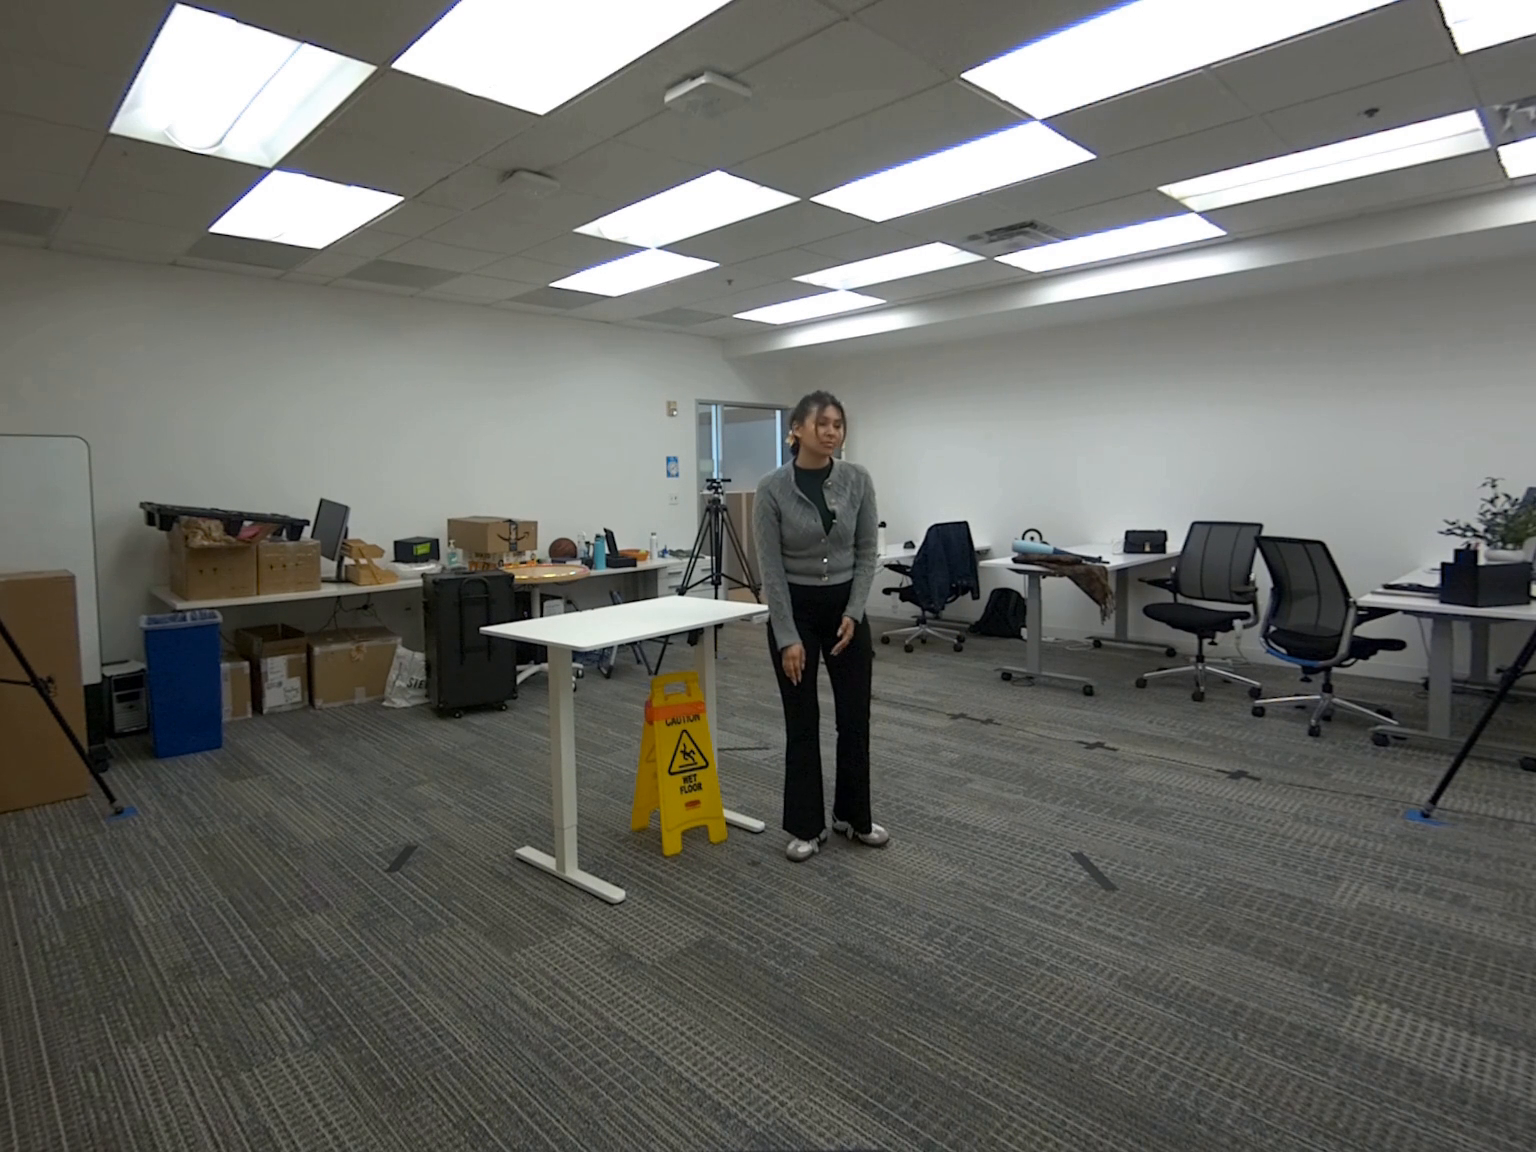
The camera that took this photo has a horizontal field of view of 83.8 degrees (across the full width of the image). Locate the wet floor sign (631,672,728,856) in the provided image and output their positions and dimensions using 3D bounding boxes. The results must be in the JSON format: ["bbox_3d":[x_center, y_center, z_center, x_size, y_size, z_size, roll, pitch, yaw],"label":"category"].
[{"bbox_3d":[-0.362,0.698,3.350,0.275,0.644,0.298,-3,3,-33],"label":"wet floor sign"}]
